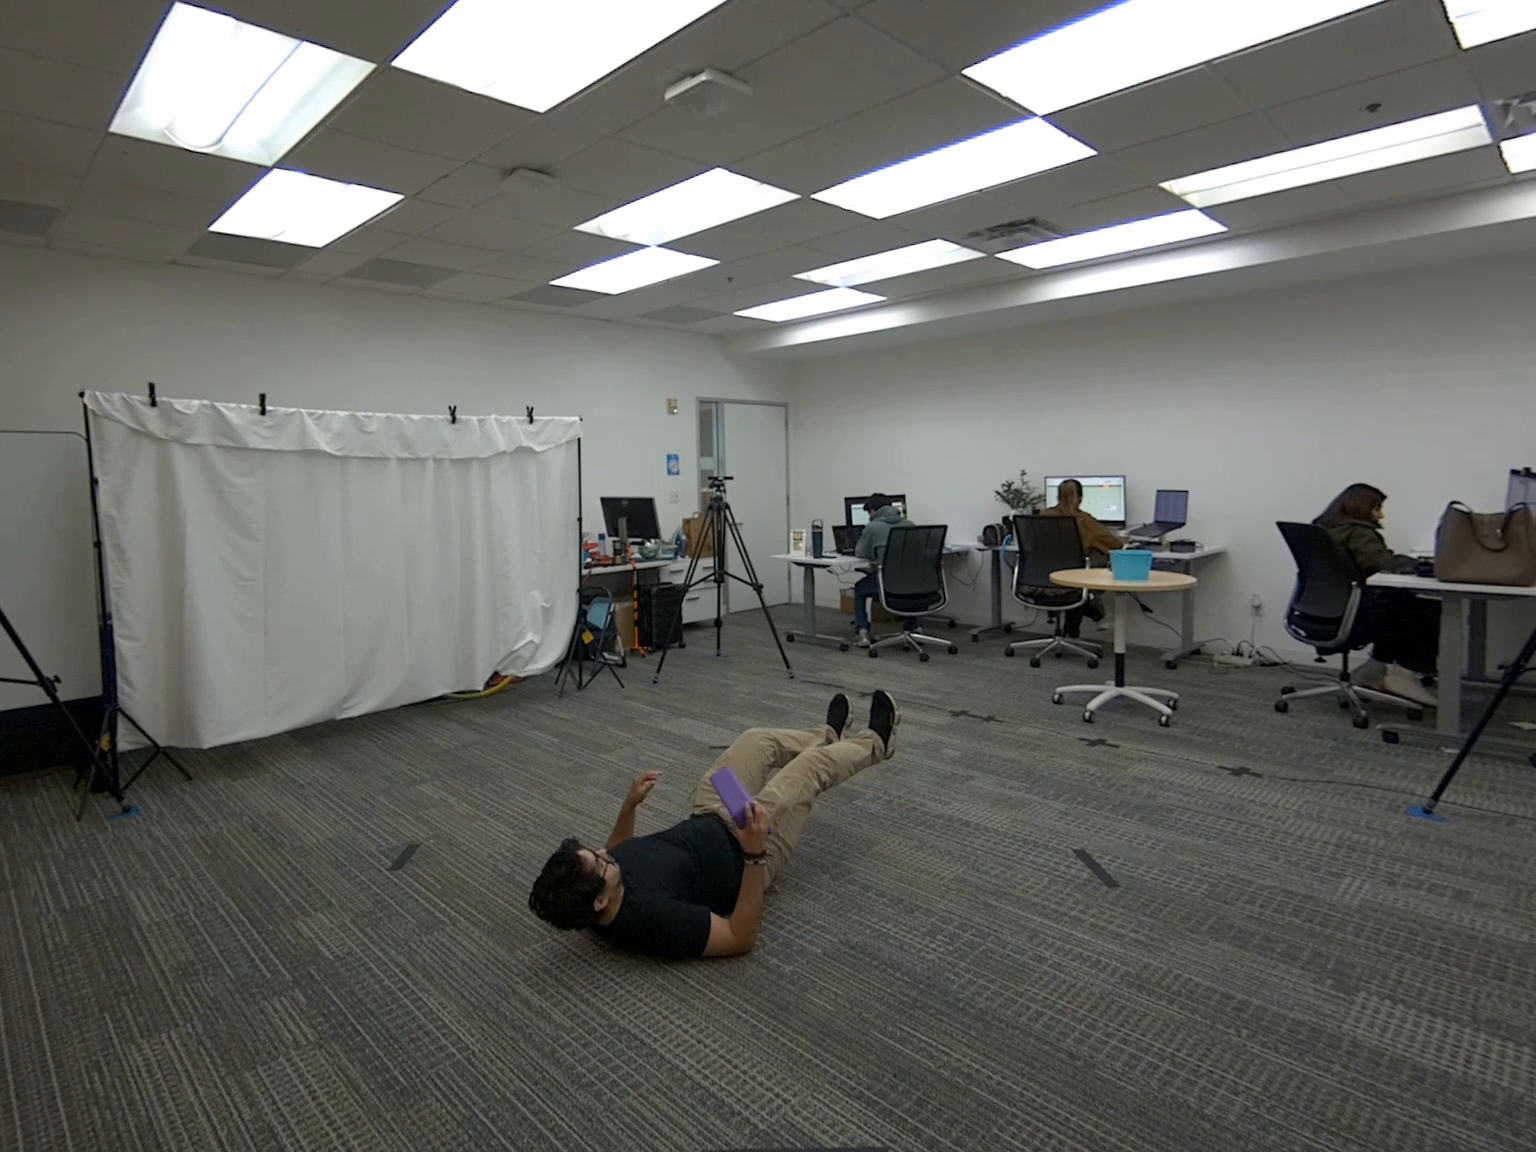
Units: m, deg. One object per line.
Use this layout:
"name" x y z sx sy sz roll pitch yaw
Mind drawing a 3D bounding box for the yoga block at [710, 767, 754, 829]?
"yoga block" -0.080 0.726 2.655 0.076 0.145 0.236 -30 26 -10
